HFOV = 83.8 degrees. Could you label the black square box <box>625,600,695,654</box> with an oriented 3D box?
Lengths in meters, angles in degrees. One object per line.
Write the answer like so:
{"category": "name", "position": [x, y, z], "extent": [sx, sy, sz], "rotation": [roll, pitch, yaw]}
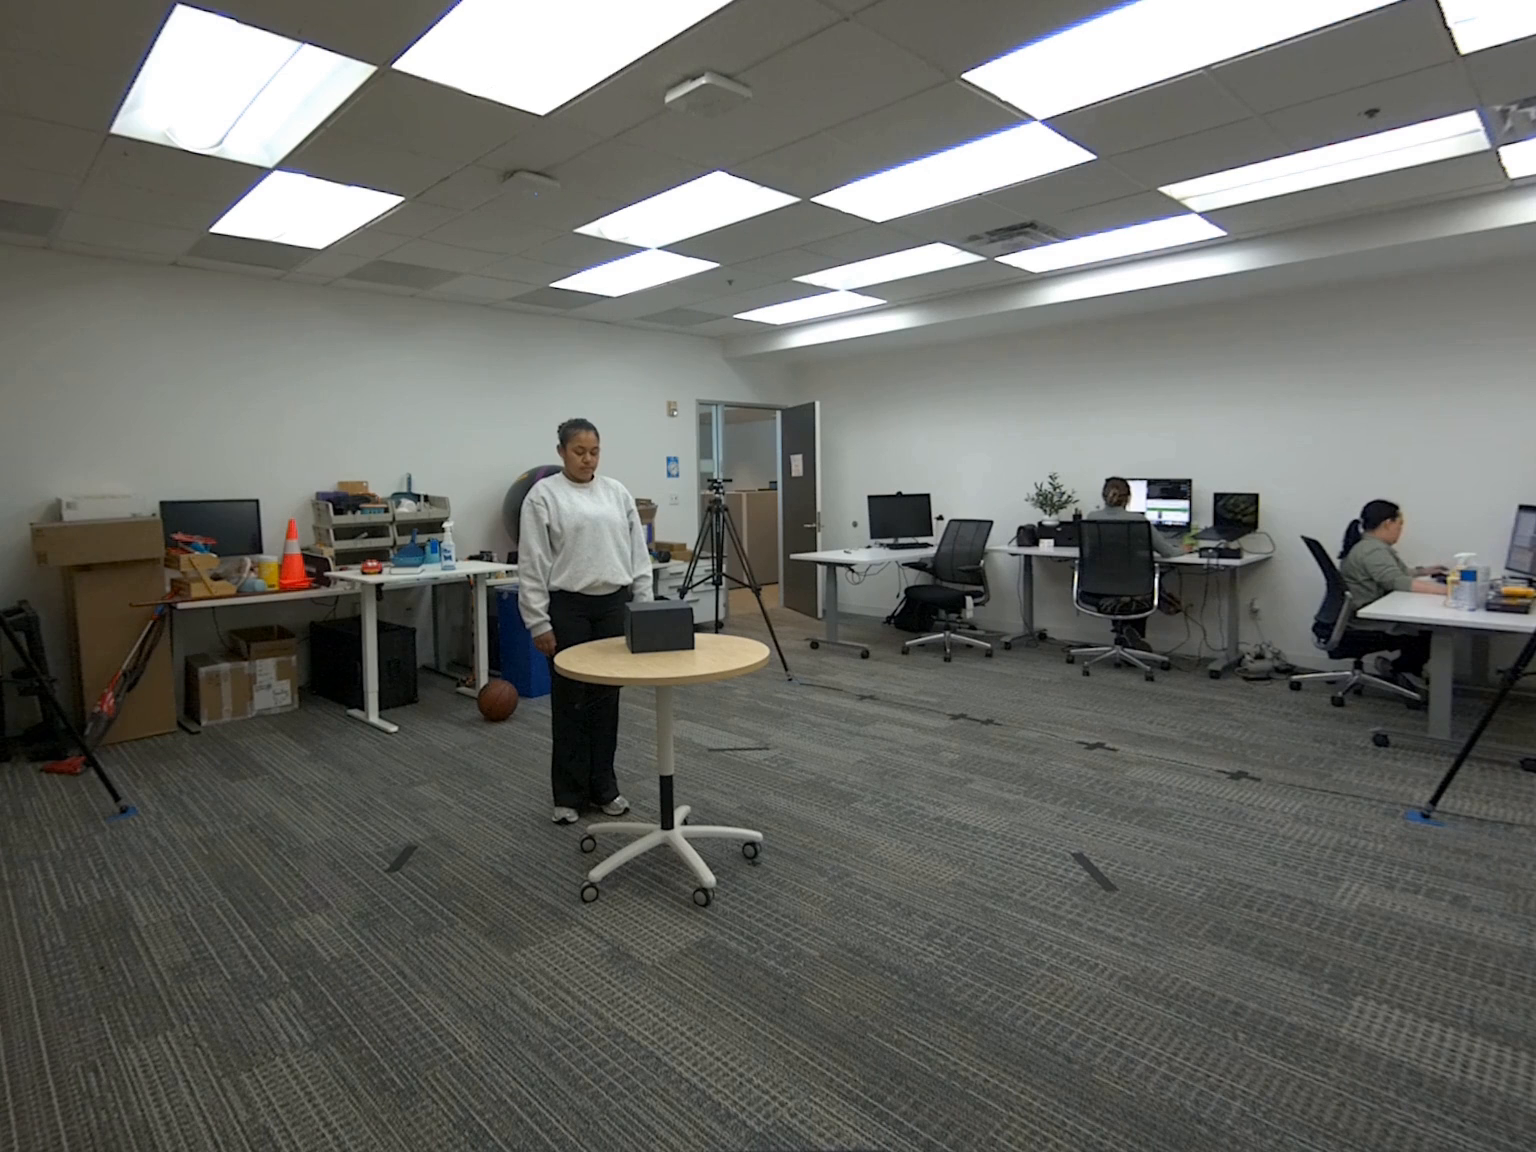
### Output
{"category": "black square box", "position": [-0.407, 0.180, 3.165], "extent": [0.225, 0.155, 0.220], "rotation": [-3, 6, -13]}
